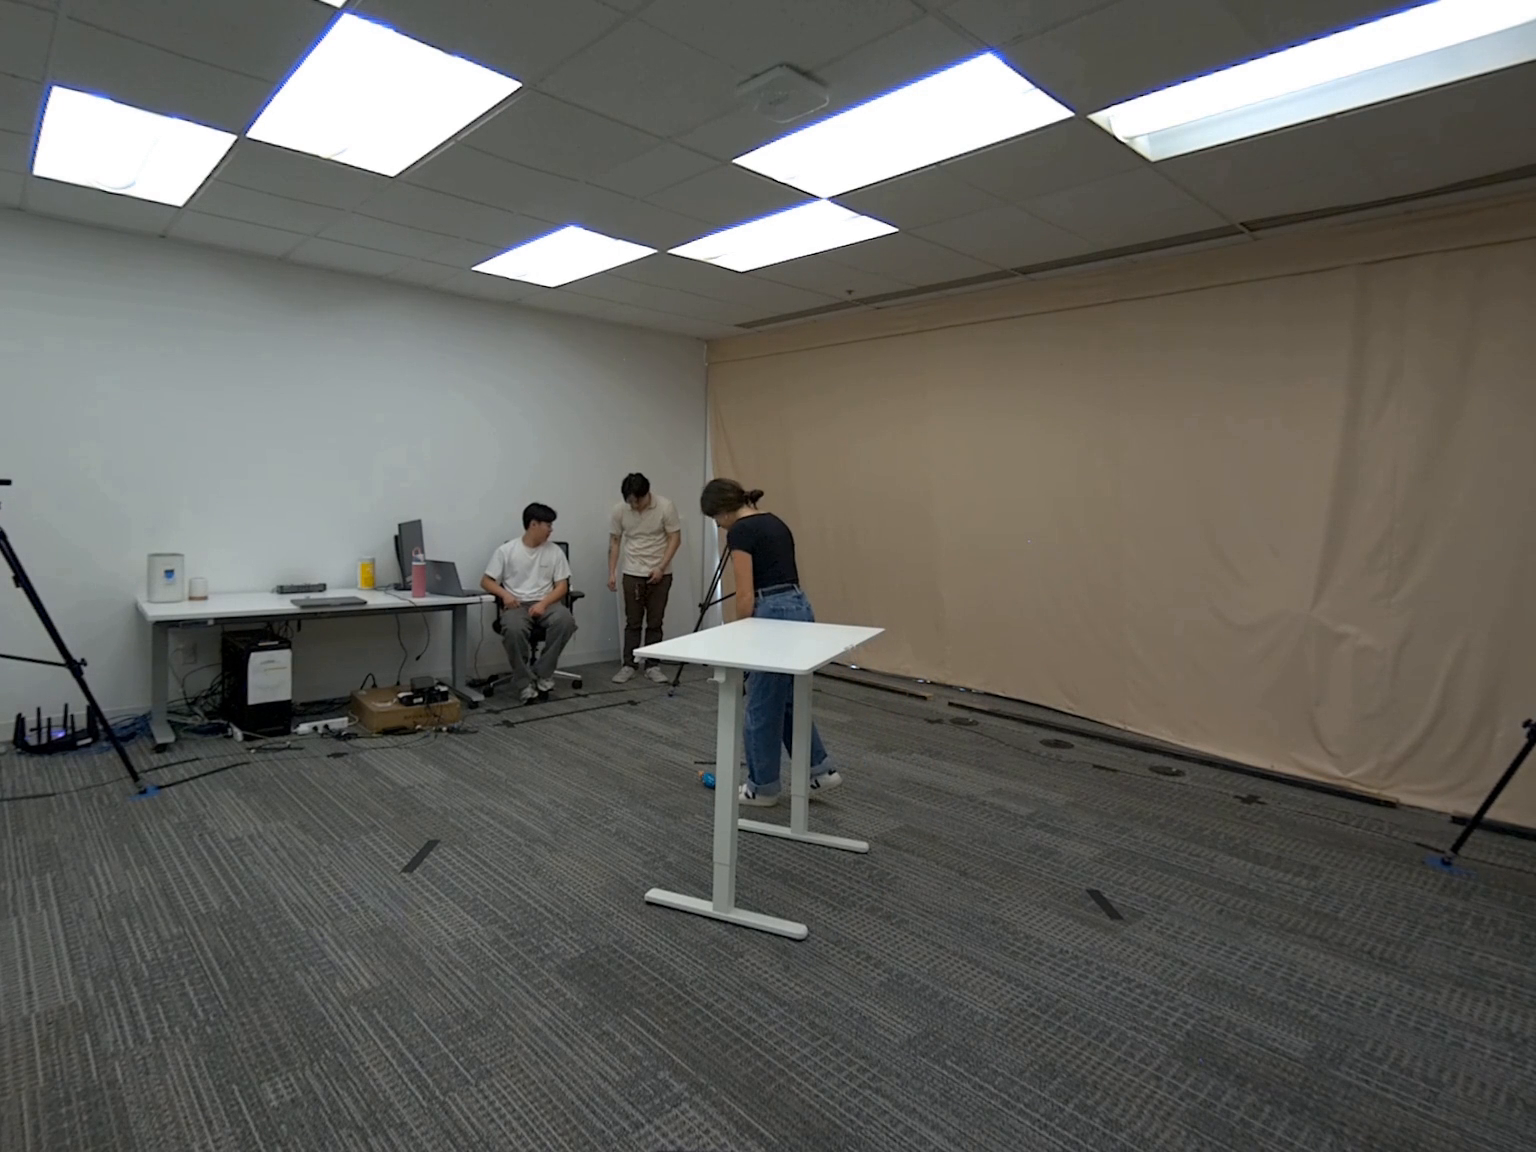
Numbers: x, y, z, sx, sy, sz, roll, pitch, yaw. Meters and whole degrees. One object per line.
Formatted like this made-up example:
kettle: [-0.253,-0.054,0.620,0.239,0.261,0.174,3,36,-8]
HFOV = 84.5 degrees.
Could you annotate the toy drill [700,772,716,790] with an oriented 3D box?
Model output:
toy drill: [-0.267,0.985,4.123,0.143,0.061,0.174,-2,8,-31]
